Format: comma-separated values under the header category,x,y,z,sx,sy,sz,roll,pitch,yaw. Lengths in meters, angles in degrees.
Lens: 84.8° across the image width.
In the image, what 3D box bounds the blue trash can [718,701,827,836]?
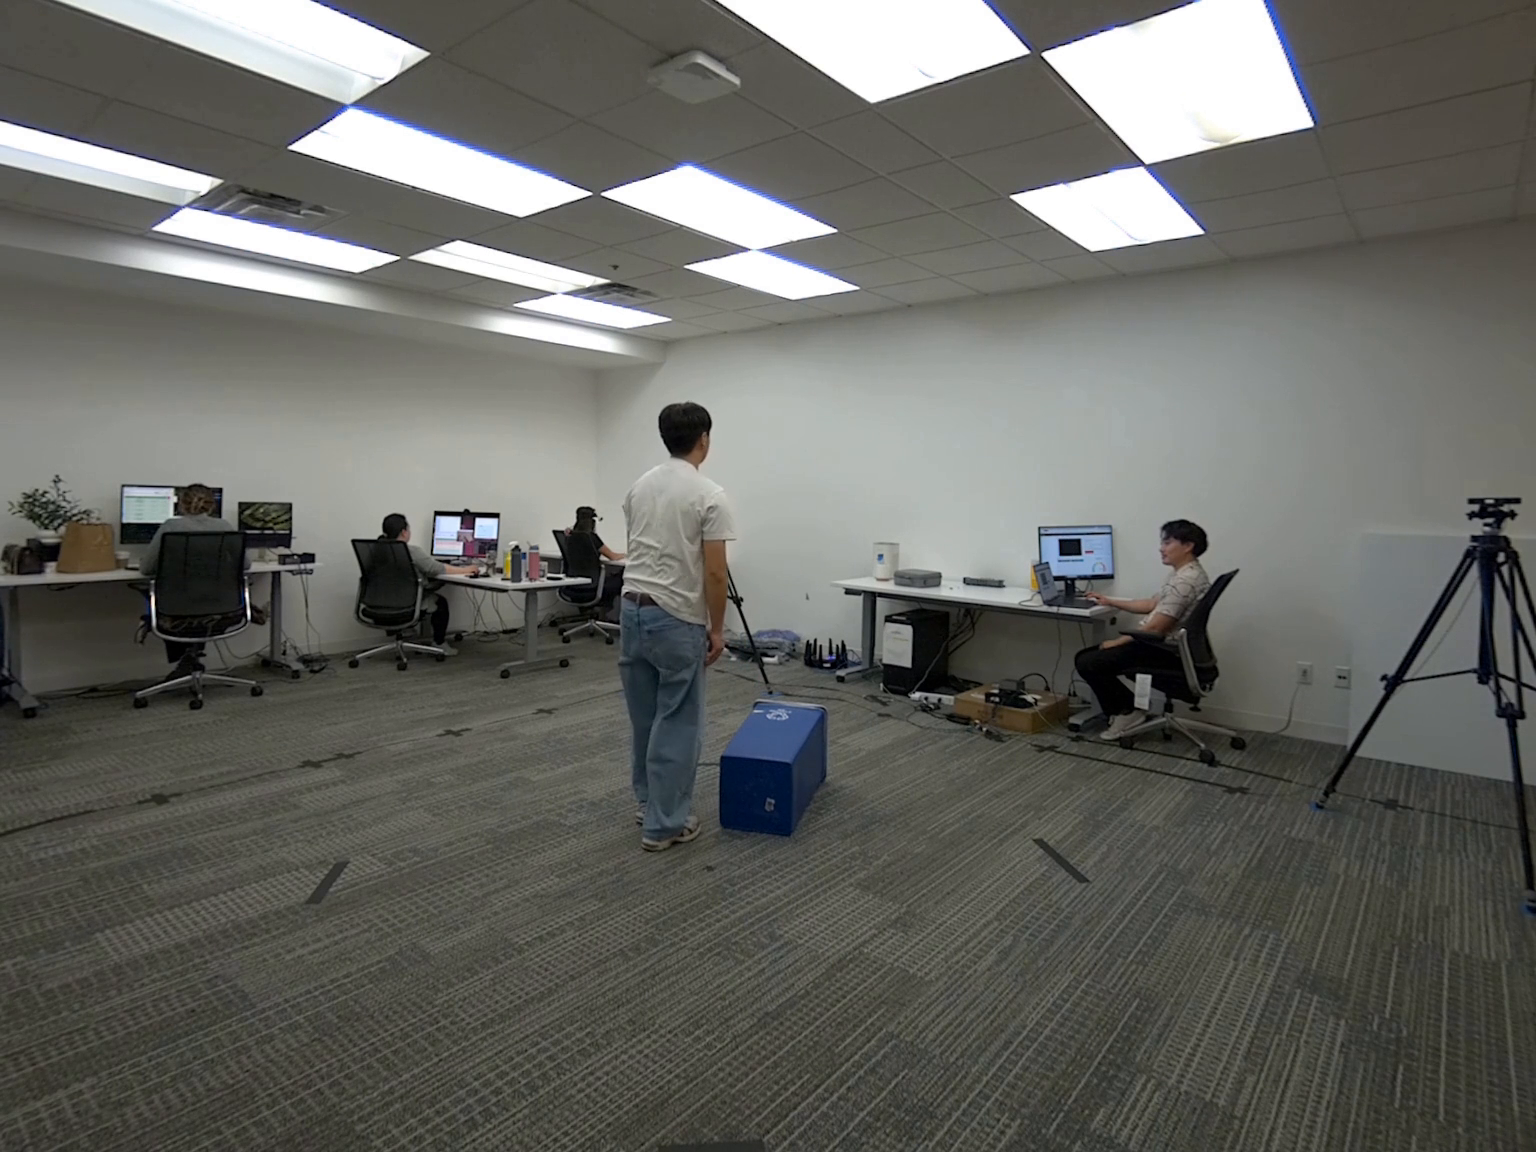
category,x,y,z,sx,sy,sz,roll,pitch,yaw
blue trash can,0.024,0.839,3.771,0.380,0.375,0.708,2,8,13
